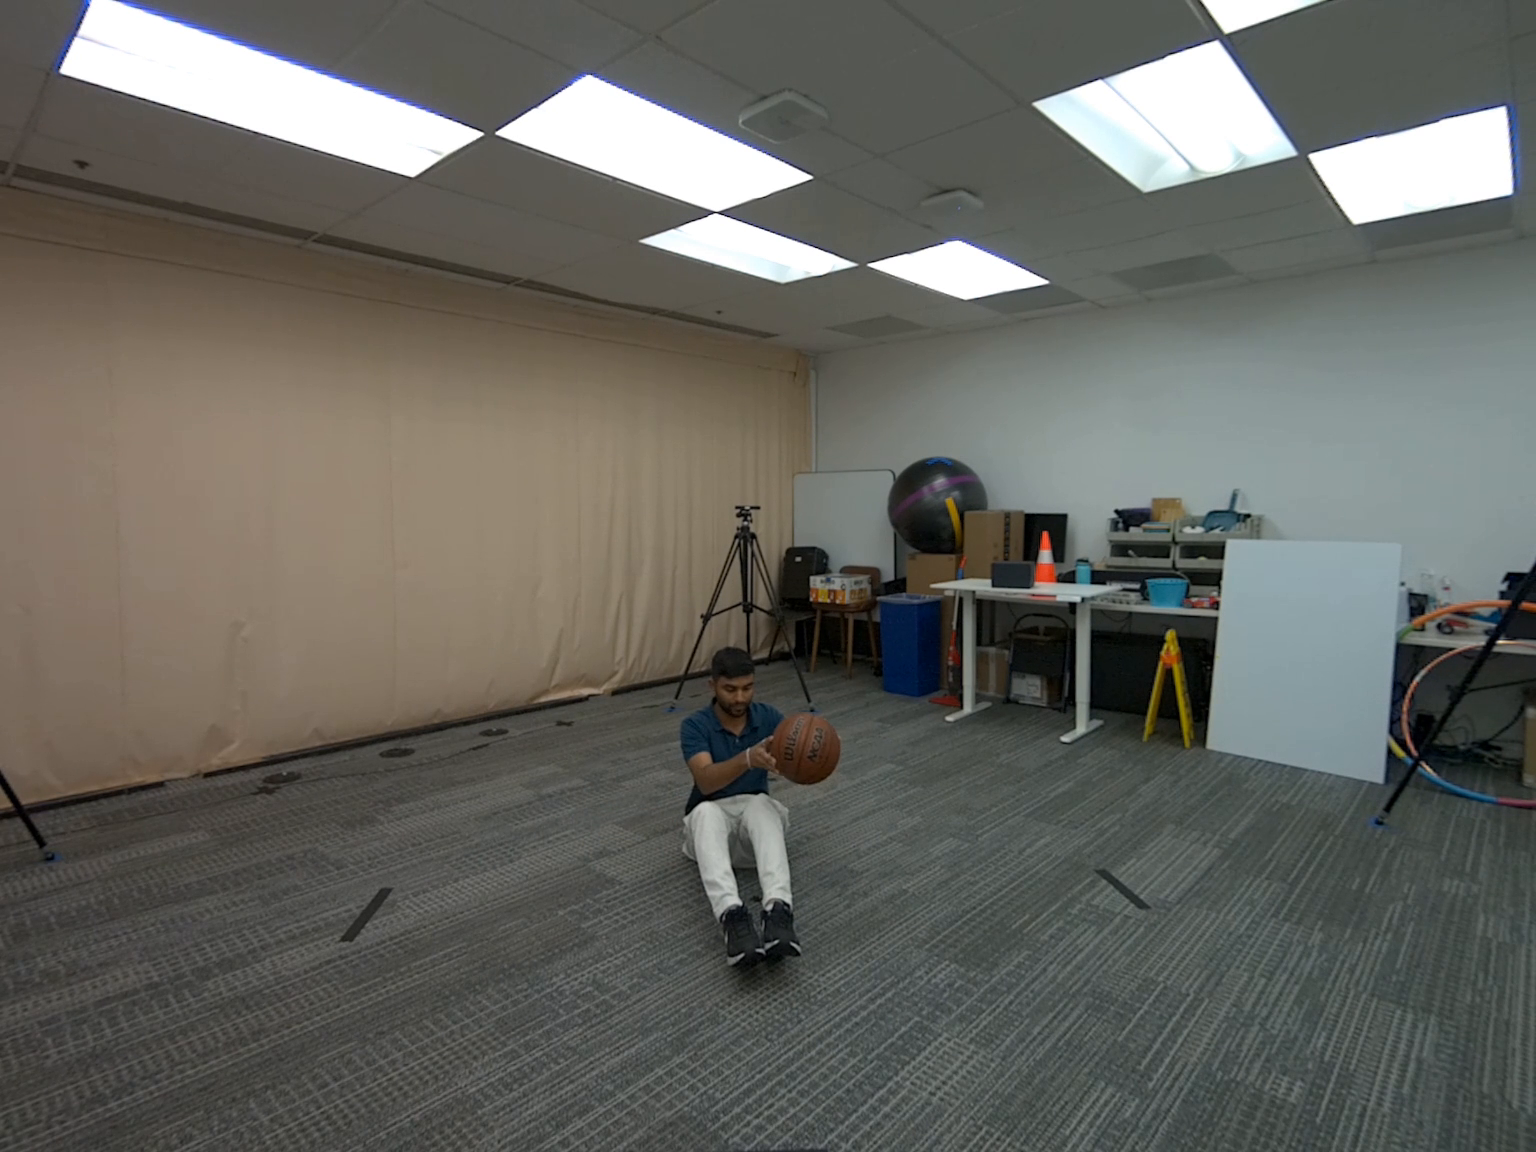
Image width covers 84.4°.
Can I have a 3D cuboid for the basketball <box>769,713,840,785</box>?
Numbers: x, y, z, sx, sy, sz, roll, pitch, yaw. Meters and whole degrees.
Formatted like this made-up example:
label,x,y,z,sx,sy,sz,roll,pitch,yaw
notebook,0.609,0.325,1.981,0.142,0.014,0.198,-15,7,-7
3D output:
label,x,y,z,sx,sy,sz,roll,pitch,yaw
basketball,0.129,0.593,2.863,0.236,0.235,0.237,0,4,-2
